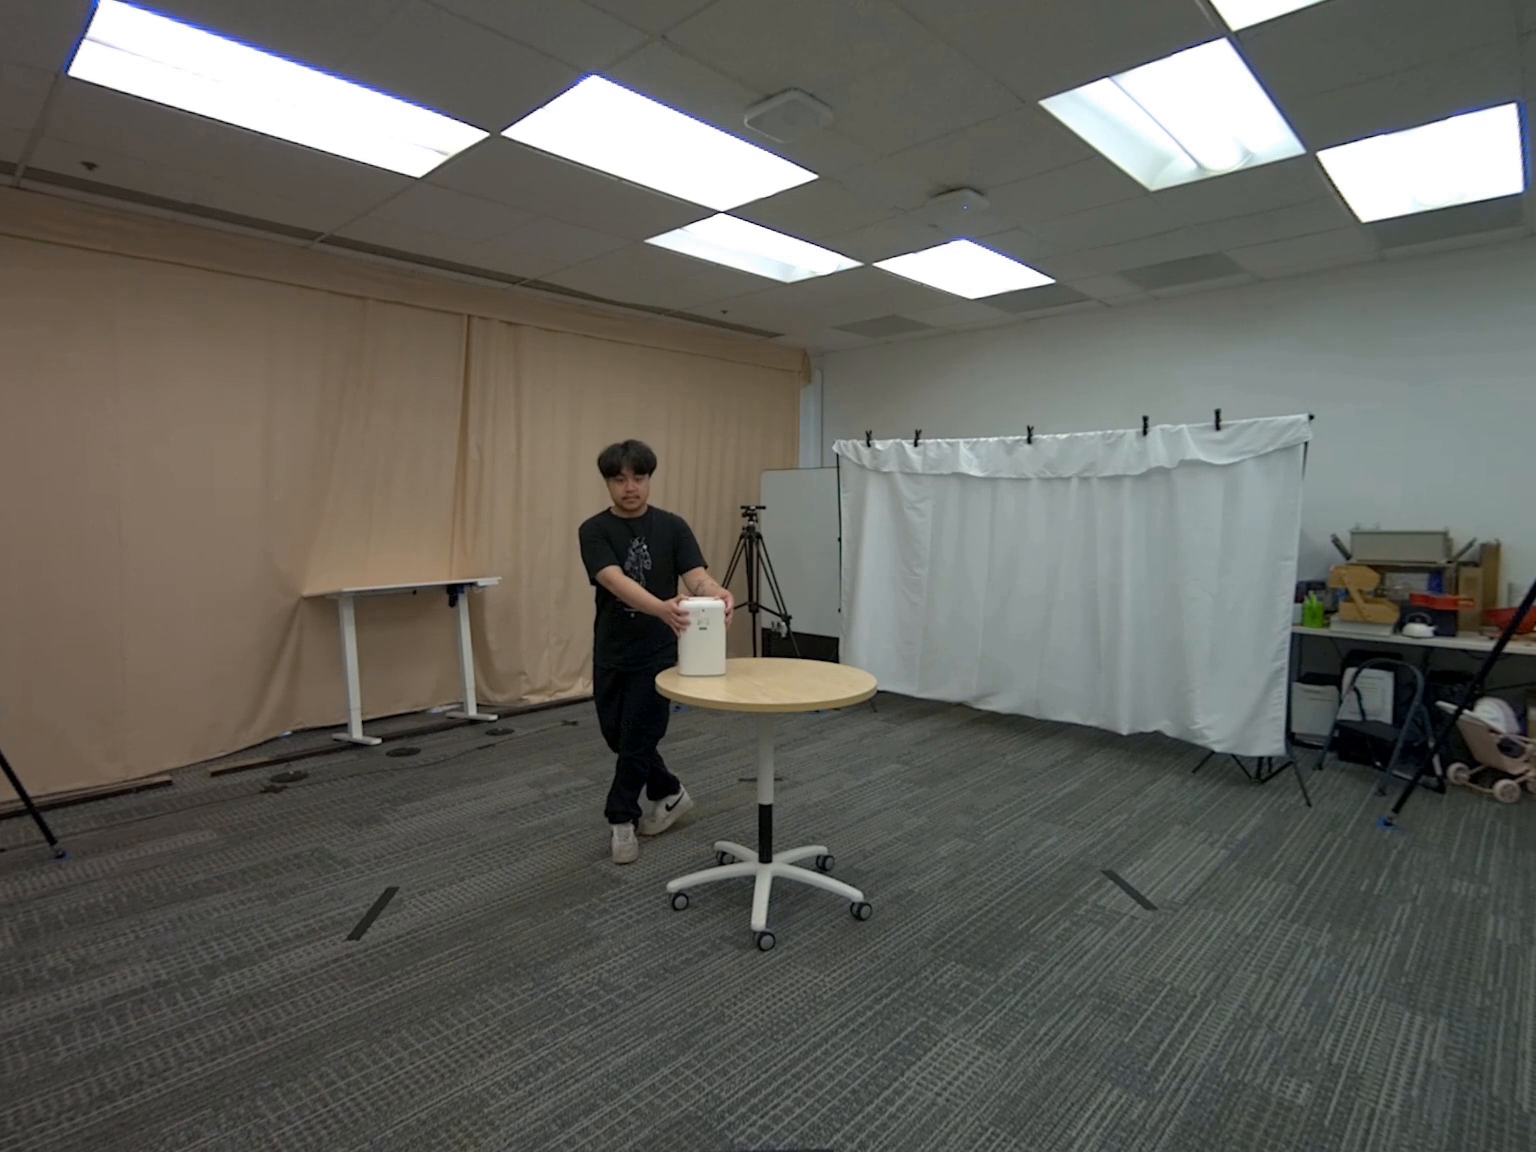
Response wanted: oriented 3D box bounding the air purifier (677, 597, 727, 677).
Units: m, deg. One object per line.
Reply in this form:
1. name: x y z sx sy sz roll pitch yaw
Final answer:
1. air purifier: -0.236 0.218 3.031 0.170 0.265 0.173 -3 4 -6
